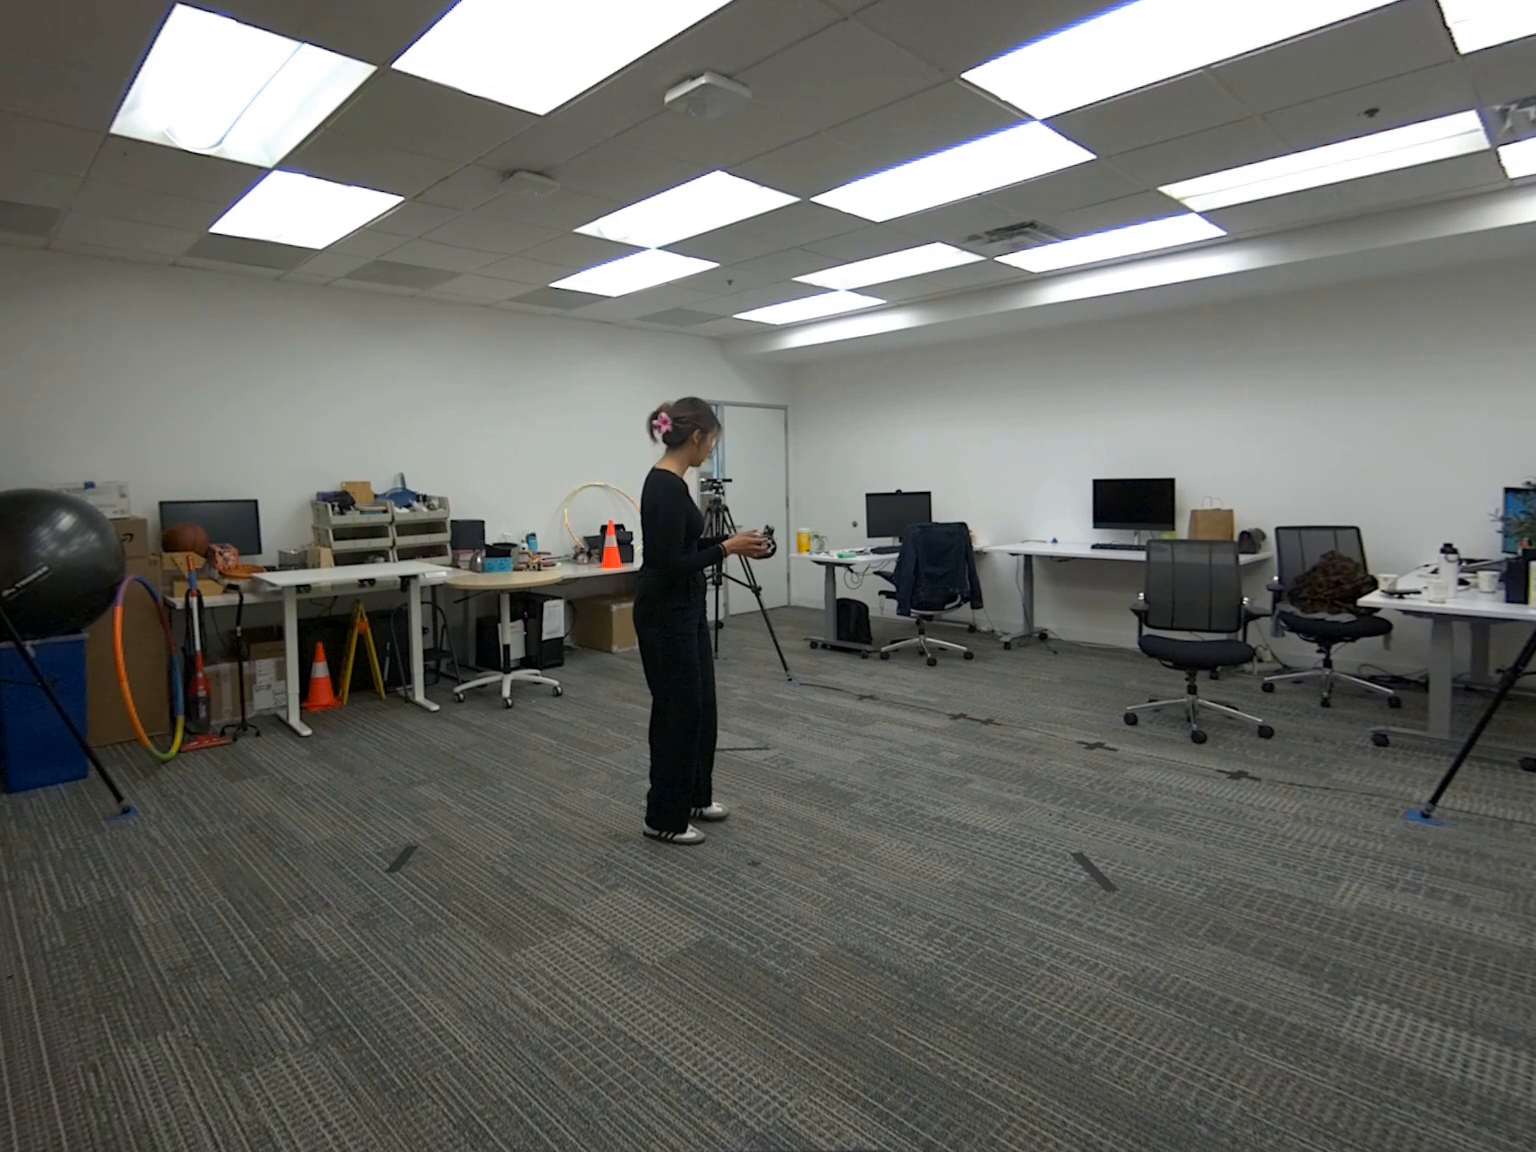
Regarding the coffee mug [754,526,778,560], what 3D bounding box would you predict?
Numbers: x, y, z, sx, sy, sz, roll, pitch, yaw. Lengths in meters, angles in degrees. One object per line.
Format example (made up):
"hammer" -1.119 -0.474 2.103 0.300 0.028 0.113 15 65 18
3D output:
"coffee mug" -0.016 -0.133 3.260 0.087 0.122 0.205 35 5 -10
